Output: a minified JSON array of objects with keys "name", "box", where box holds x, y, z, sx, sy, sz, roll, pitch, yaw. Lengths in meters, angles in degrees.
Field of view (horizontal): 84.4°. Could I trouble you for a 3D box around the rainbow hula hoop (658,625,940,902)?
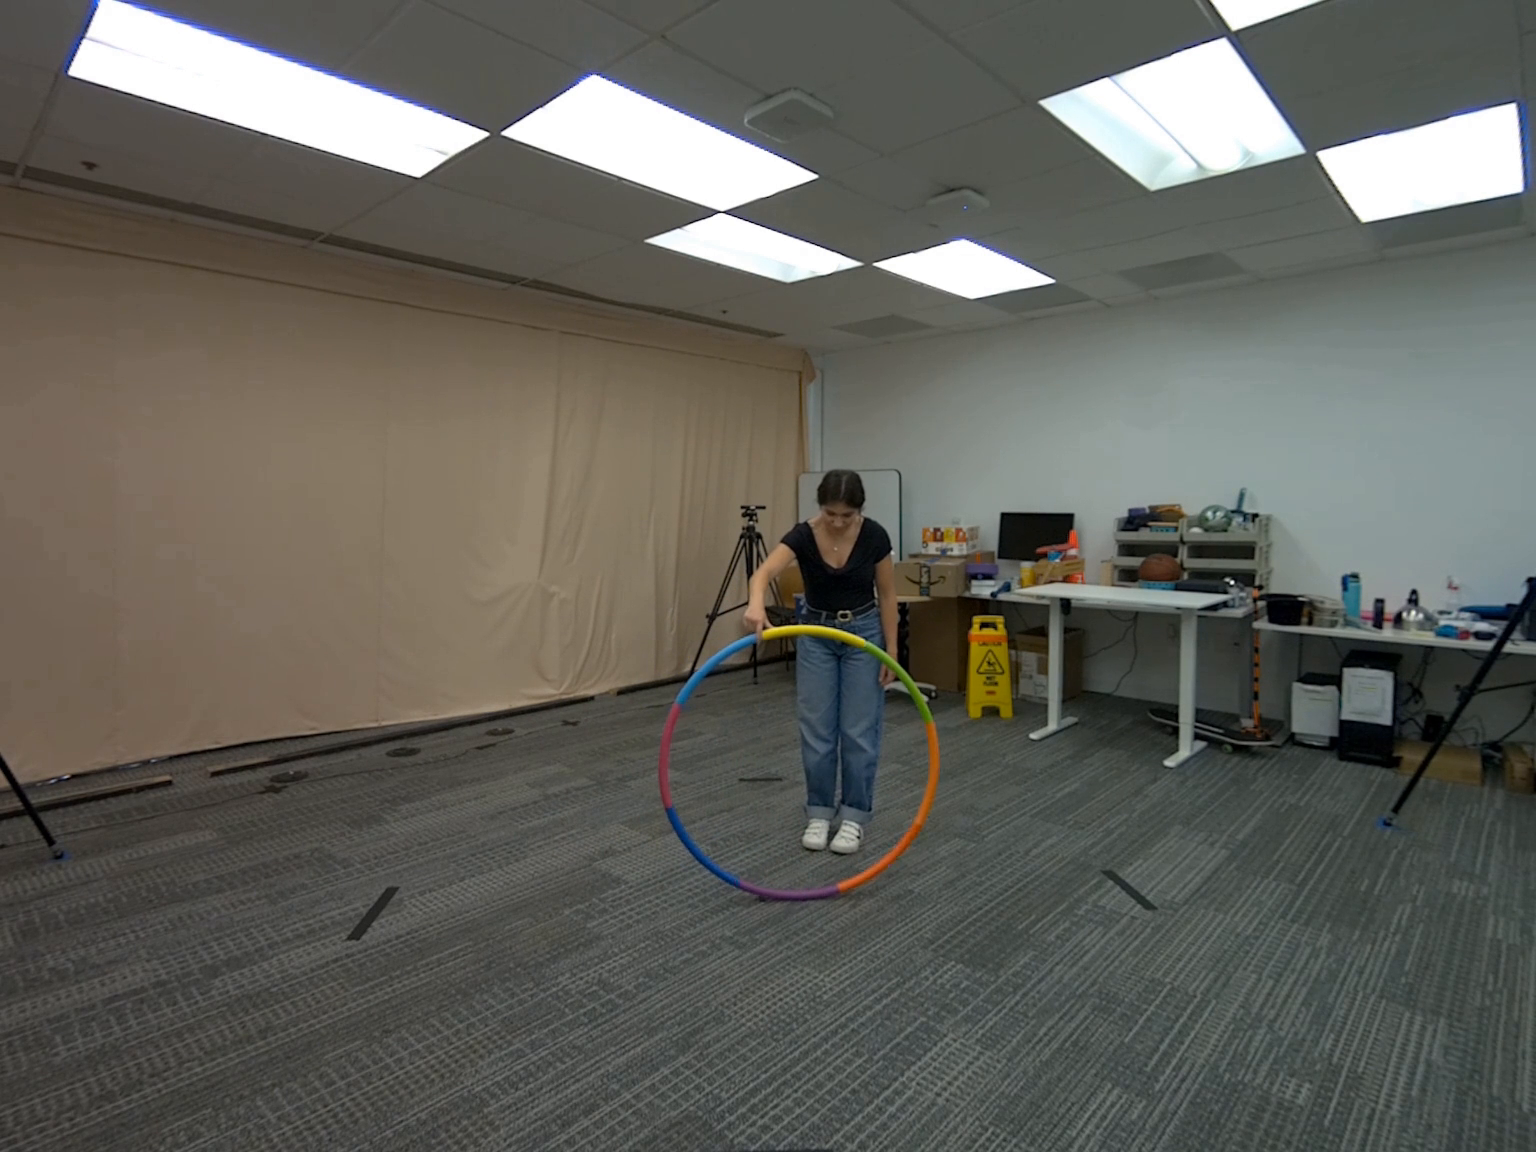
[{"name":"rainbow hula hoop","box":[0.115,0.666,2.956,0.973,0.977,0.036,0,3,-5]}]
